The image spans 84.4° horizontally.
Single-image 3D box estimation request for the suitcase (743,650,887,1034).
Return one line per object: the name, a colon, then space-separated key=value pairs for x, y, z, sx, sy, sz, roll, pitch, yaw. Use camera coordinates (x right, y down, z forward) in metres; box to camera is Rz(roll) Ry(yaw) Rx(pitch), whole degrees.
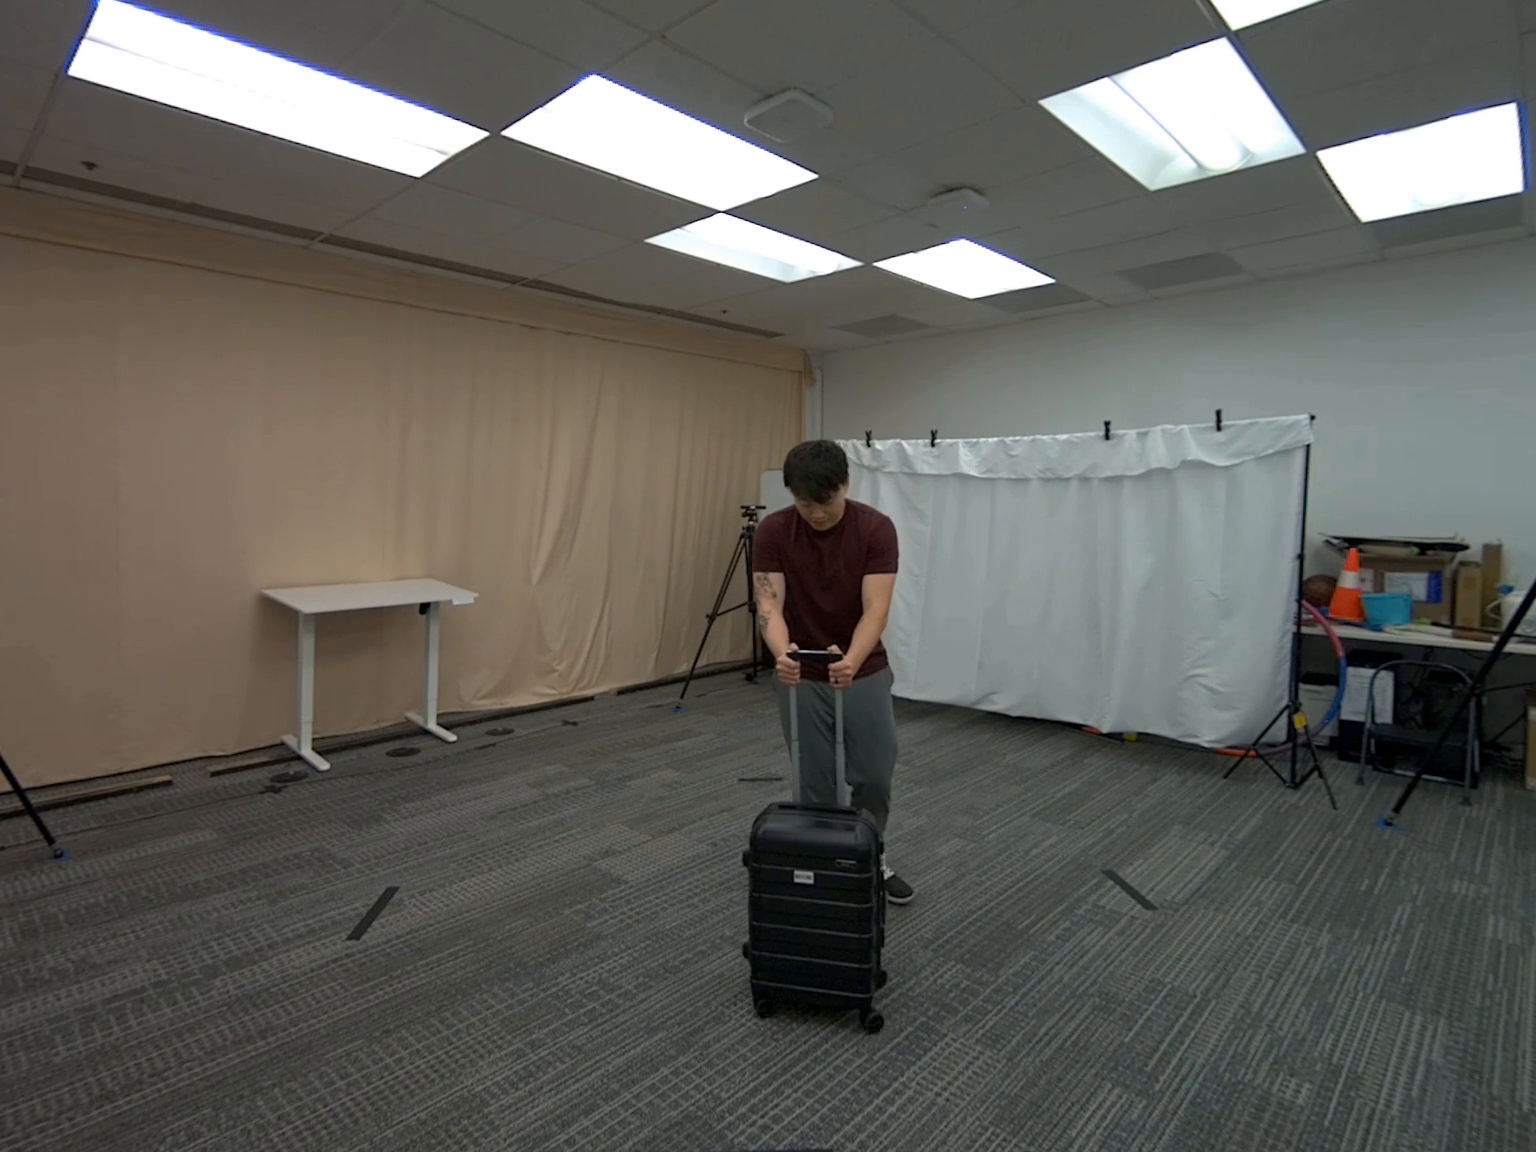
suitcase: x=0.133 y=0.722 z=2.333 sx=0.389 sy=0.975 sz=0.254 roll=0 pitch=5 yaw=13
